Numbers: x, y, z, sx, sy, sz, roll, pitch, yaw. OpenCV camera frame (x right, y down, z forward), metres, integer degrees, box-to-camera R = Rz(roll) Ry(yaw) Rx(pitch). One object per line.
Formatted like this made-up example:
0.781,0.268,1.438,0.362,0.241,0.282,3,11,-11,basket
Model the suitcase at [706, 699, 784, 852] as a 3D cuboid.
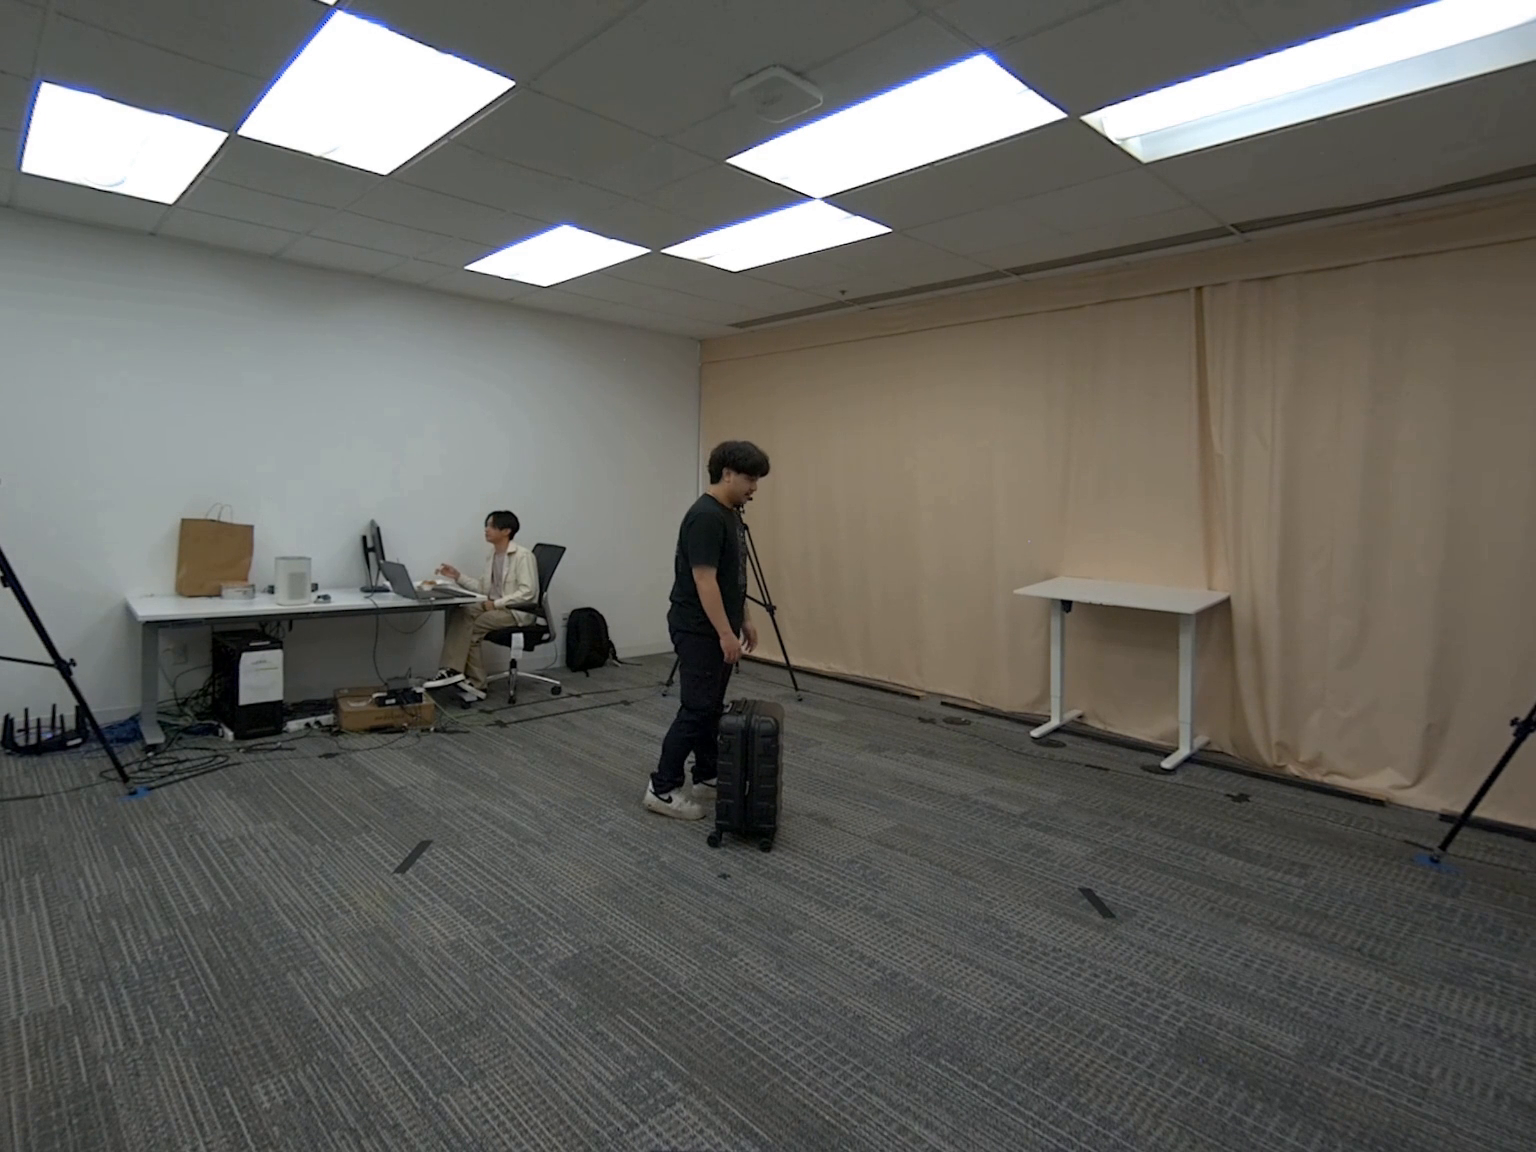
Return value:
-0.081,0.797,3.491,0.249,0.548,0.374,3,3,4,suitcase
